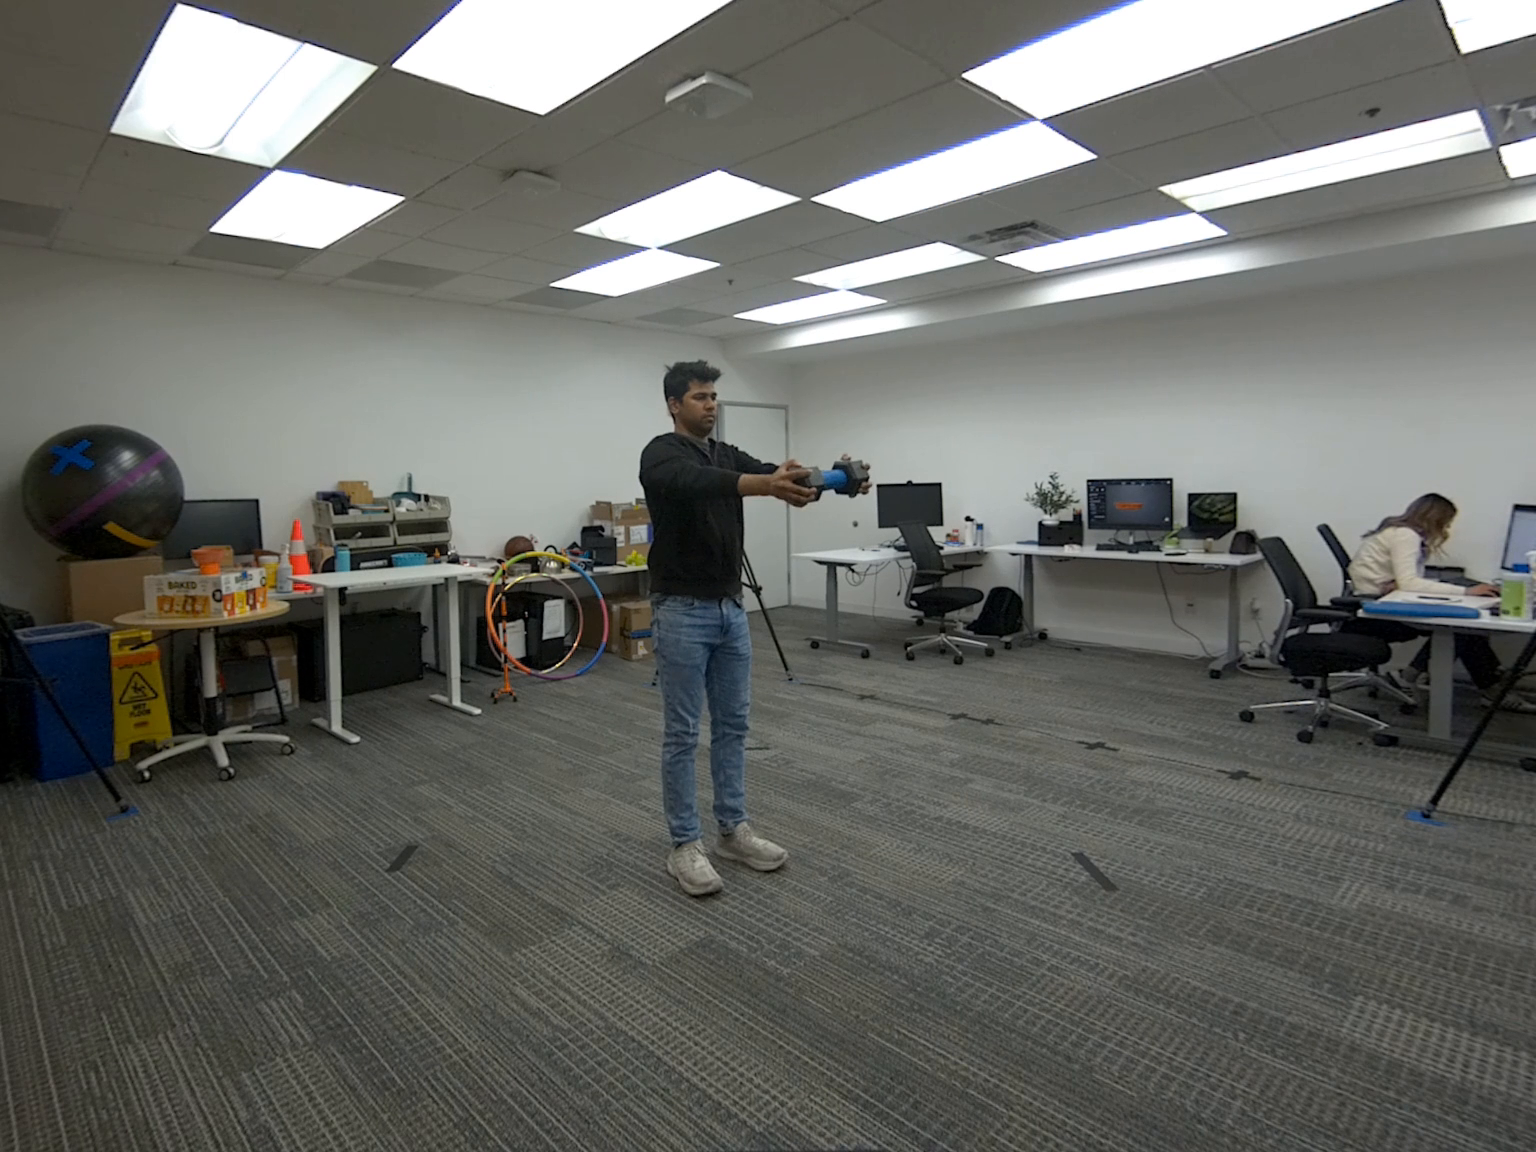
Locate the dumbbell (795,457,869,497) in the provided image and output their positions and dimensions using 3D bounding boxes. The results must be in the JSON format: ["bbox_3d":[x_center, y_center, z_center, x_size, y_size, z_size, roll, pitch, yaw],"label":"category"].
[{"bbox_3d":[0.172,-0.296,2.661,0.287,0.121,0.112,-13,48,-42],"label":"dumbbell"}]
